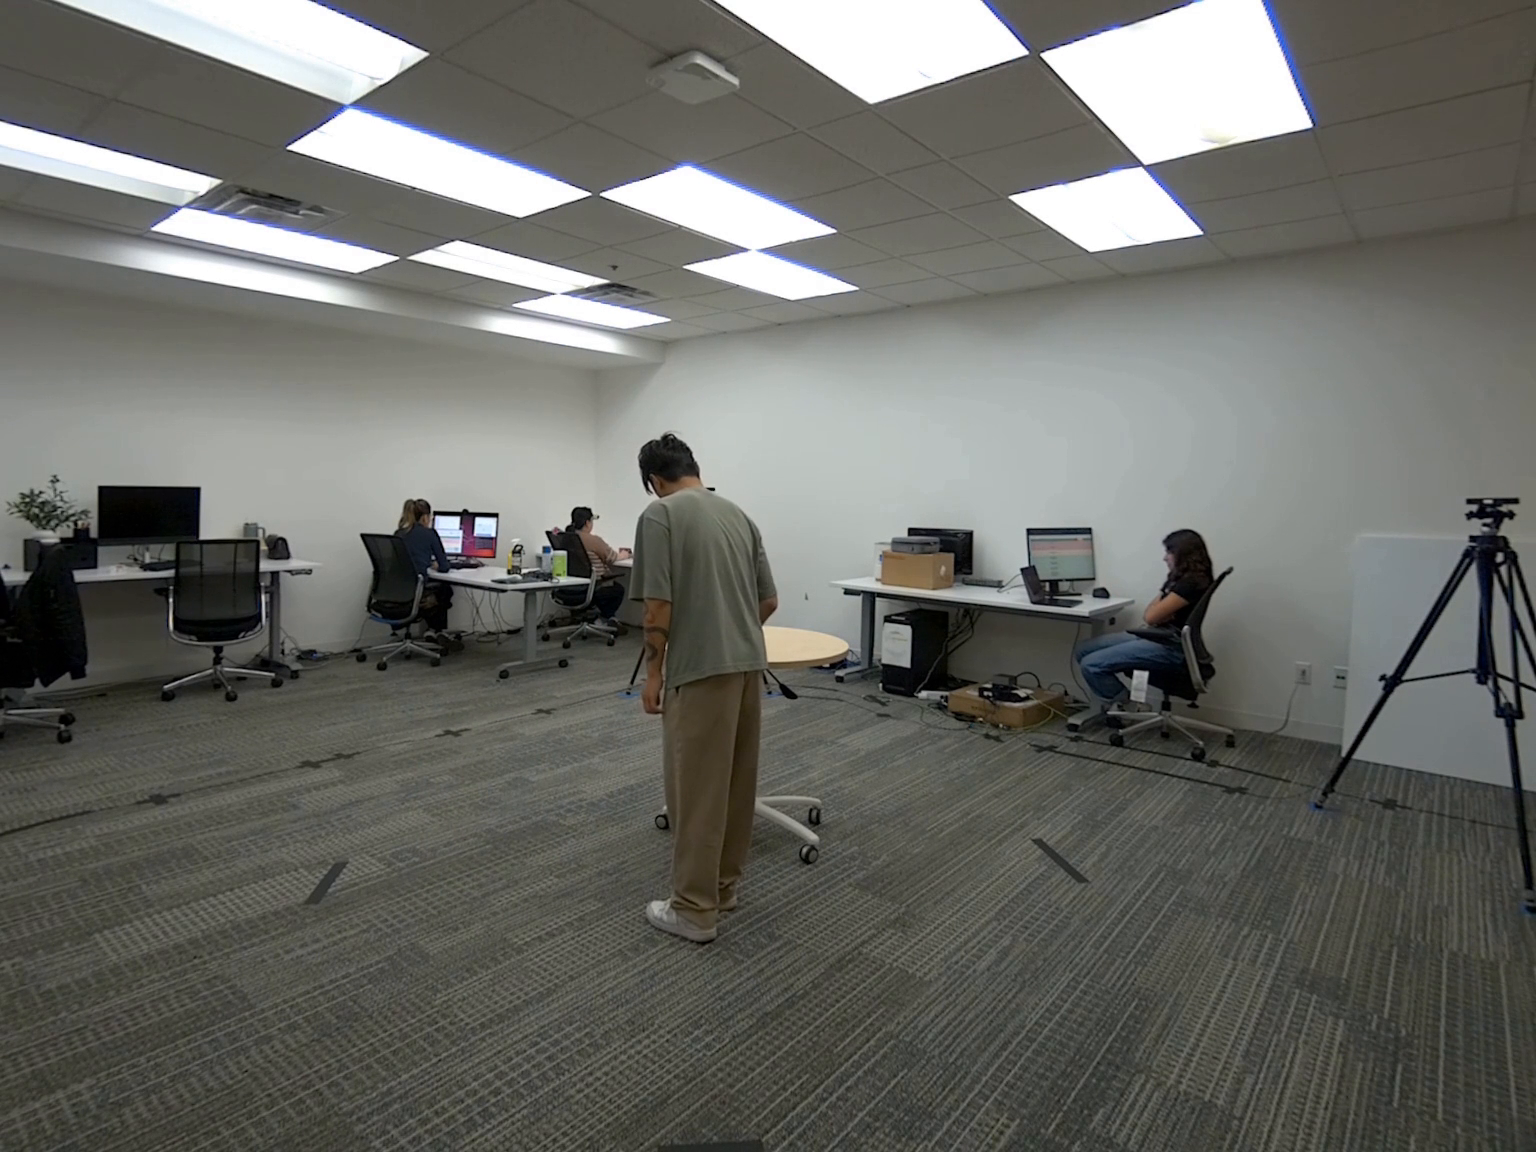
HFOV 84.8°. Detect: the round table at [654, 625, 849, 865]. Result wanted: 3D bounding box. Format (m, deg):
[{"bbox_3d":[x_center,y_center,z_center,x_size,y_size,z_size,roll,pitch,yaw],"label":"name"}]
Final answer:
[{"bbox_3d":[-0.082,0.649,3.413,0.763,0.791,0.768,1,4,-2],"label":"round table"}]
